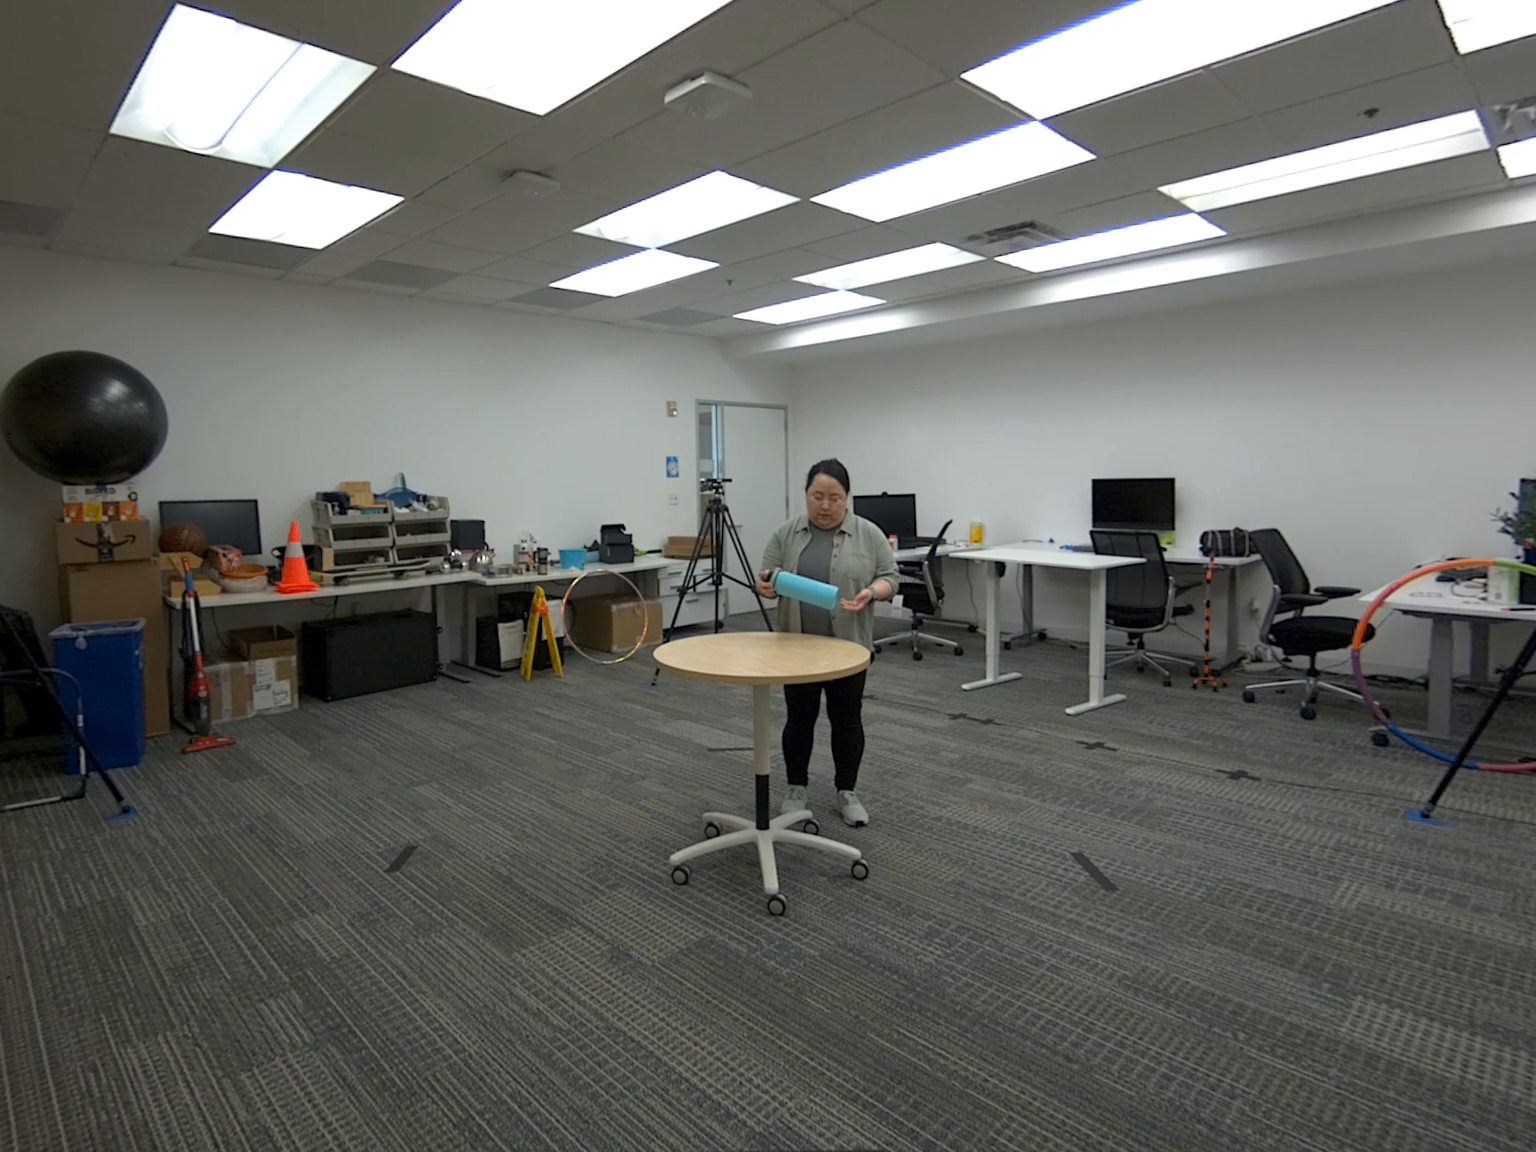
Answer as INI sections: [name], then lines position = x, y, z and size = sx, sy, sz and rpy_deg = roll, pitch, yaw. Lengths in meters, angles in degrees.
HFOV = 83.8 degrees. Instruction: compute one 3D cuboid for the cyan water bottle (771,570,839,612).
[cyan water bottle]
position = 0.128, 0.046, 3.235
size = 0.288, 0.092, 0.091
rpy_deg = 17, 9, 13
